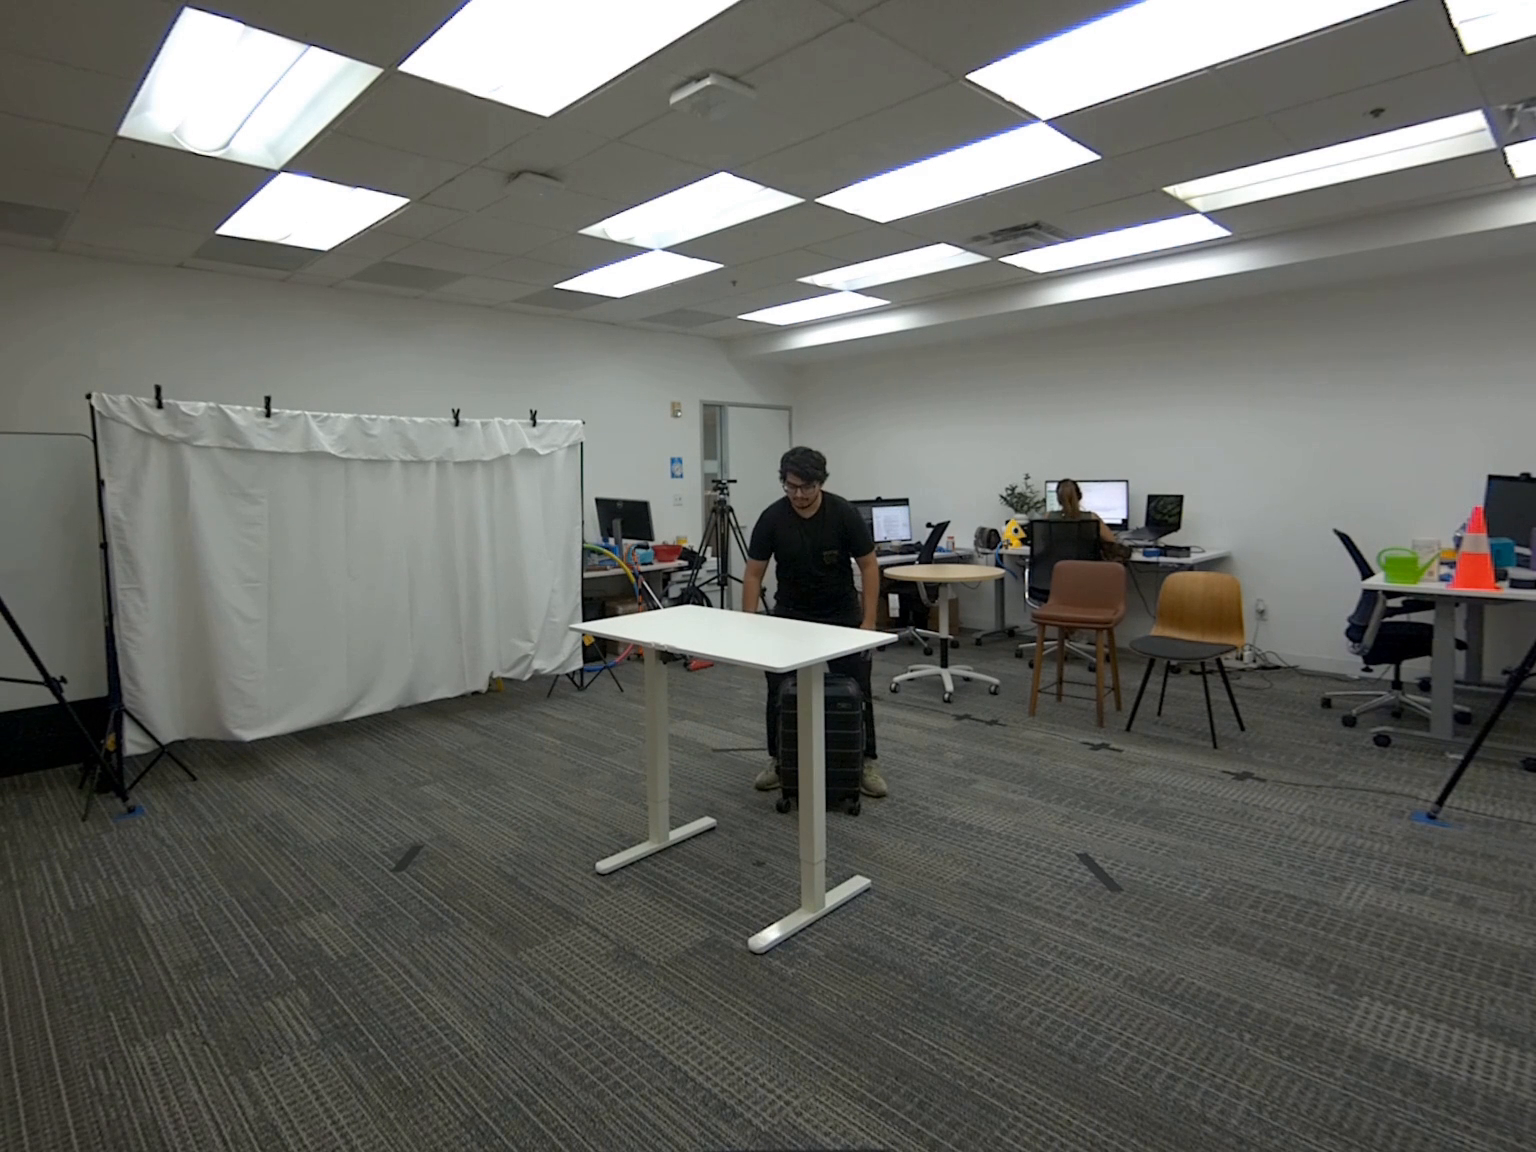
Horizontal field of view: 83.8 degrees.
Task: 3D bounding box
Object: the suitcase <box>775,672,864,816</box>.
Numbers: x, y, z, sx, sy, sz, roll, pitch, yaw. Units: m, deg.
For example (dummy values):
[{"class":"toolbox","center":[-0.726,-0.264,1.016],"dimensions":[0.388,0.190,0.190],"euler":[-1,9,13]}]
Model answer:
[{"class":"suitcase","center":[0.231,0.706,3.677],"dimensions":[0.378,0.548,0.247],"euler":[0,2,6]}]
